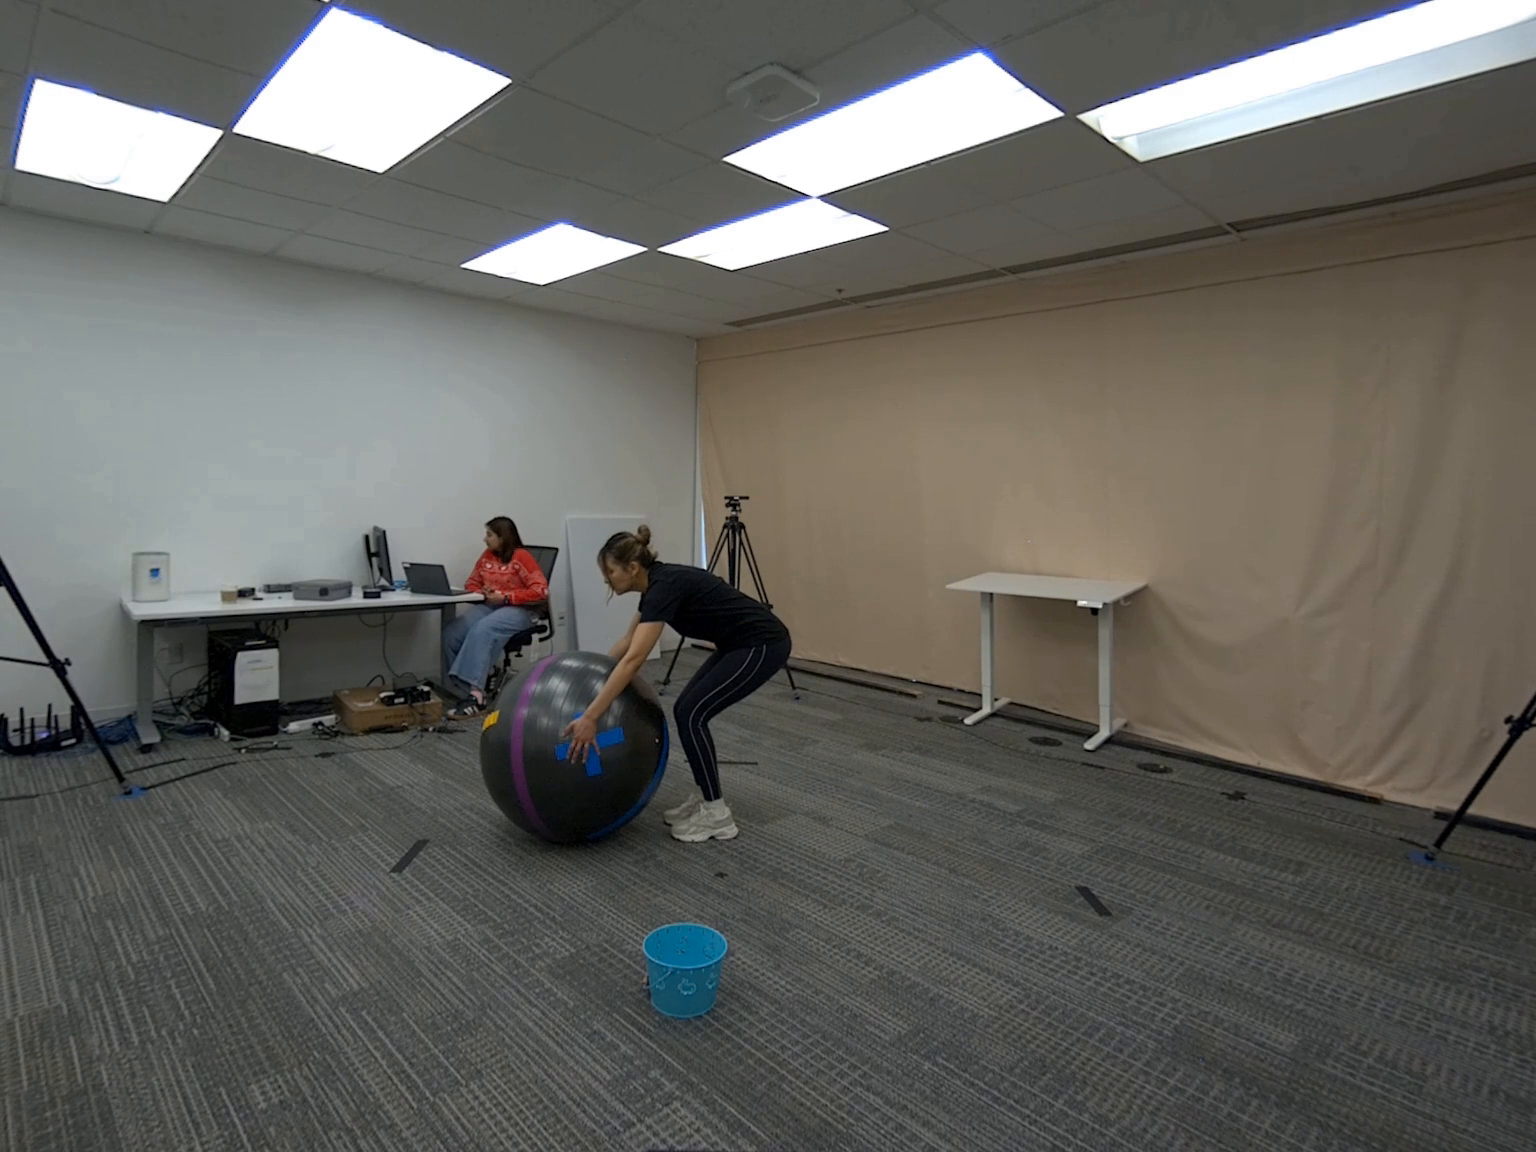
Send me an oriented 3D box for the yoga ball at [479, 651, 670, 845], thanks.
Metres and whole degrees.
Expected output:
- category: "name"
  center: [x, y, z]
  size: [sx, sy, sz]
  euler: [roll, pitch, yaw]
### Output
- category: "yoga ball"
  center: [-0.801, 0.684, 3.432]
  size: [0.757, 0.756, 0.761]
  euler: [1, 4, -1]
